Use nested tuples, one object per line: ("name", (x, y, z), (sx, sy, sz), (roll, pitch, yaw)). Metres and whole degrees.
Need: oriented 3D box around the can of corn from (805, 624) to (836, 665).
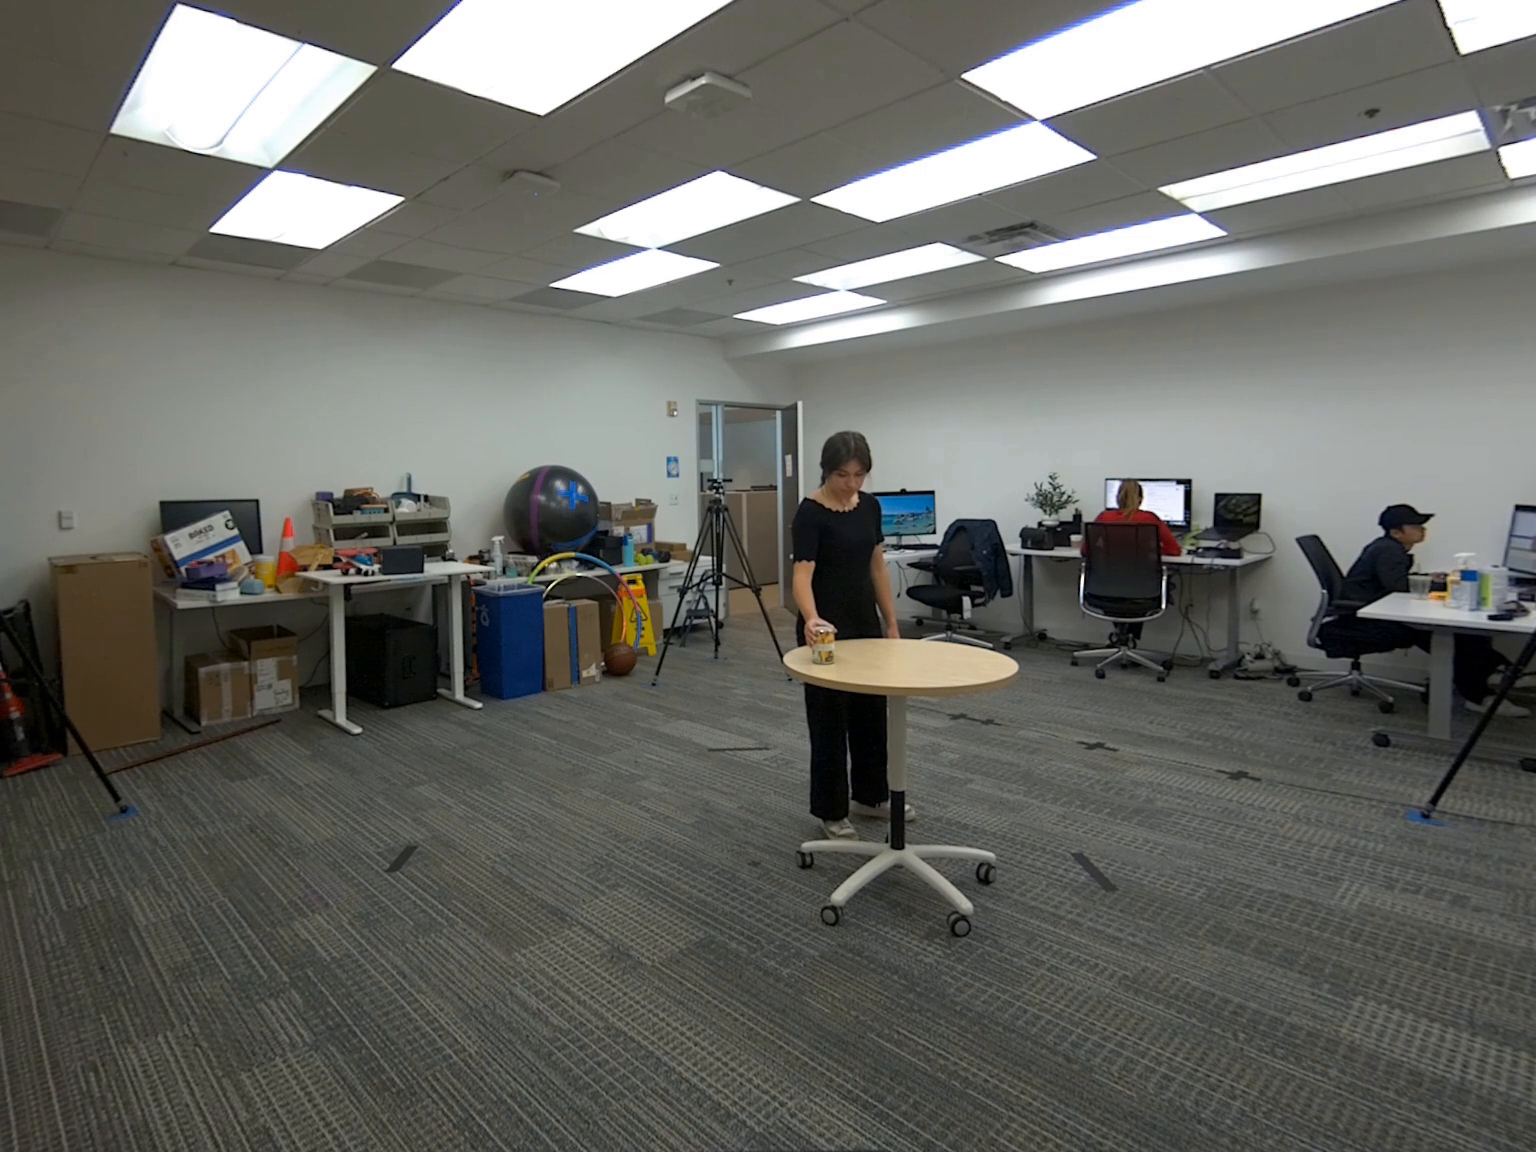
("can of corn", (0.189, 0.234, 2.825), (0.074, 0.111, 0.074), (-1, 1, -2))
